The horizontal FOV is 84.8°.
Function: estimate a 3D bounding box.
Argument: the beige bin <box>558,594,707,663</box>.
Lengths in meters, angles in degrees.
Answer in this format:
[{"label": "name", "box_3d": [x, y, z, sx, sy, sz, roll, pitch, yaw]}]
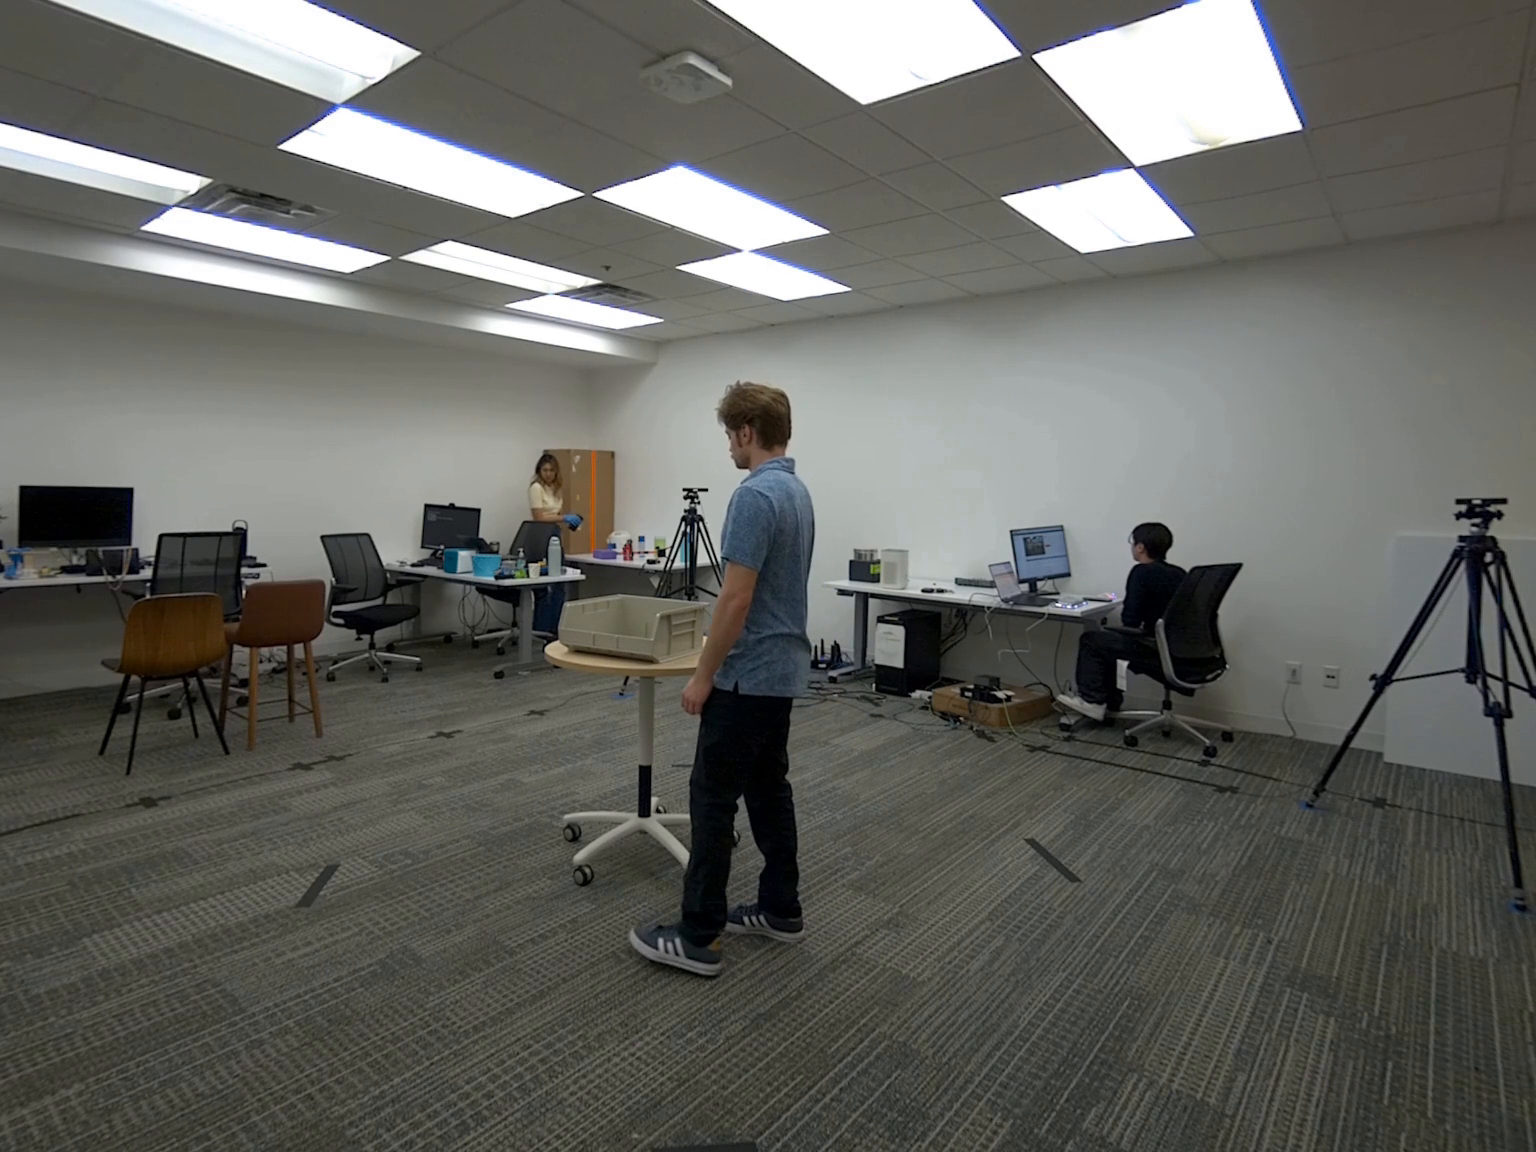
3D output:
[{"label": "beige bin", "box_3d": [-0.502, 0.190, 3.140, 0.434, 0.188, 0.368, 3, 3, 27]}]
